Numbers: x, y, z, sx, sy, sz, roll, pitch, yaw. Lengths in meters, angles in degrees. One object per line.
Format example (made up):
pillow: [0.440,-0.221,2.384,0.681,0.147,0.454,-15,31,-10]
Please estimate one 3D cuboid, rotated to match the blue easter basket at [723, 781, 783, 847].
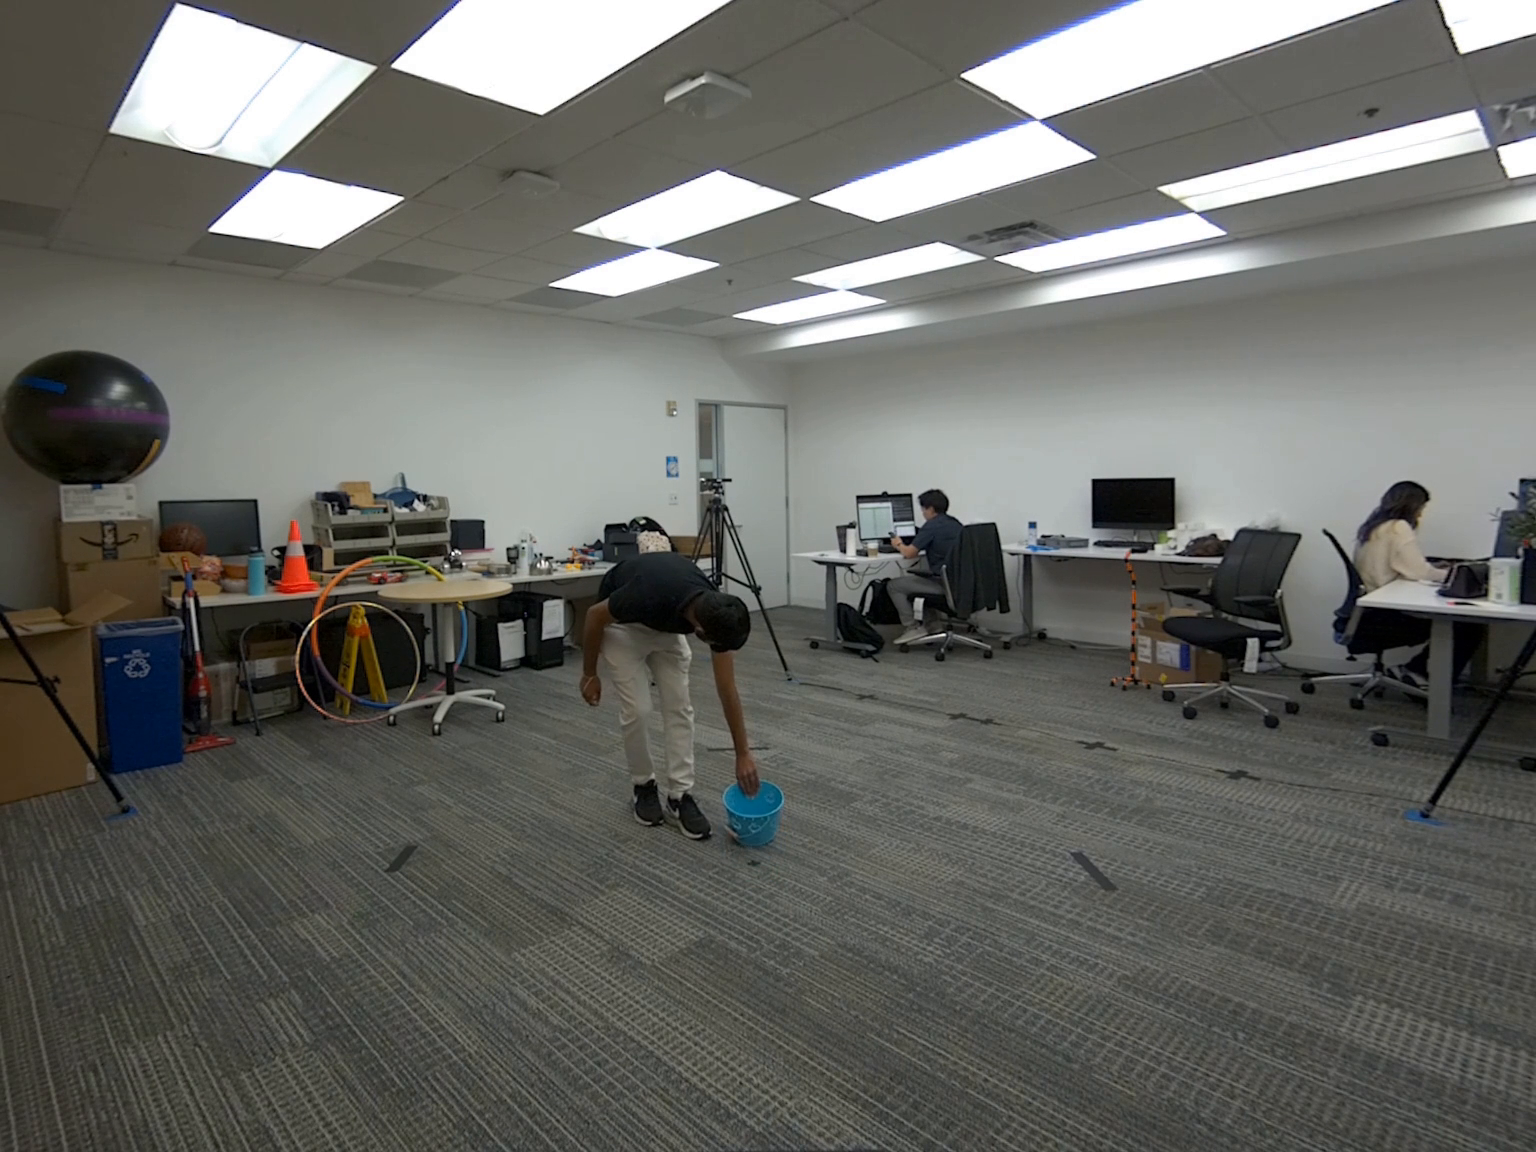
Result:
blue easter basket: [-0.059,0.922,3.313,0.243,0.153,0.248,-1,21,-1]
